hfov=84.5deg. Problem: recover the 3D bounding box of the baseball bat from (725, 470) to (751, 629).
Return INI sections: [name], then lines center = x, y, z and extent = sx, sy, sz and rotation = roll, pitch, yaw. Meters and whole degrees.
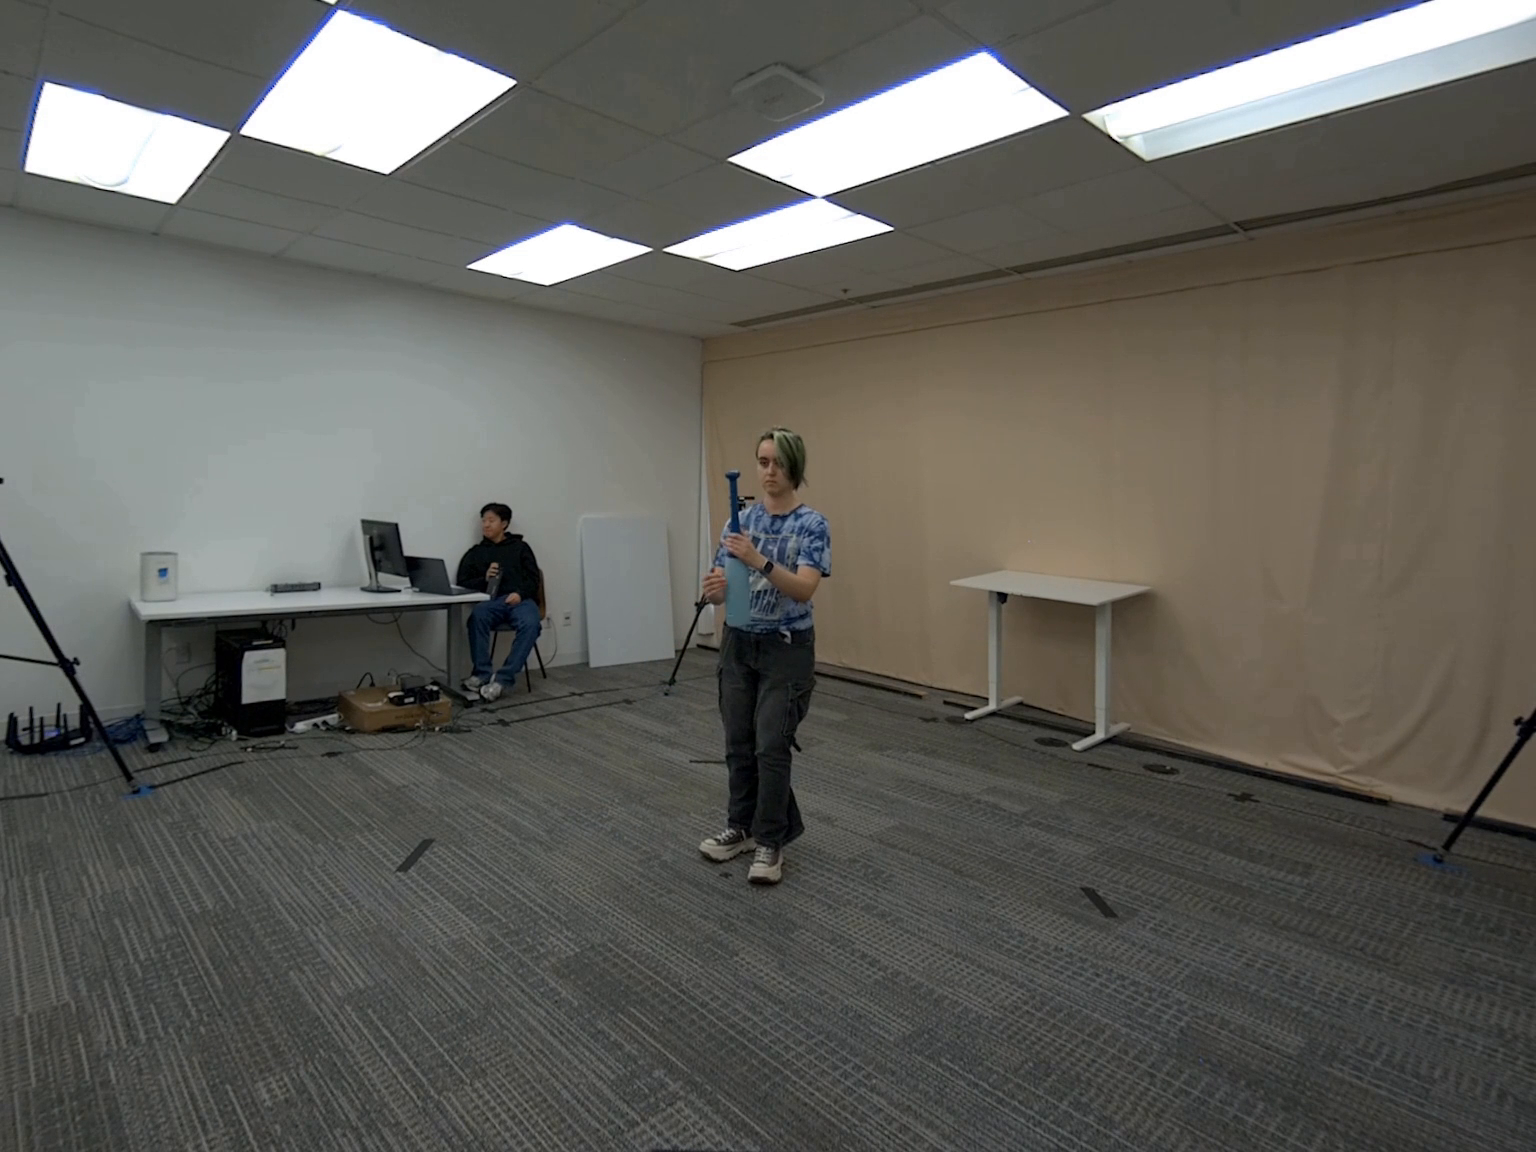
[baseball bat]
center = -0.111, -0.088, 2.862
extent = 0.089, 0.537, 0.090
rotation = -2, 15, -1
